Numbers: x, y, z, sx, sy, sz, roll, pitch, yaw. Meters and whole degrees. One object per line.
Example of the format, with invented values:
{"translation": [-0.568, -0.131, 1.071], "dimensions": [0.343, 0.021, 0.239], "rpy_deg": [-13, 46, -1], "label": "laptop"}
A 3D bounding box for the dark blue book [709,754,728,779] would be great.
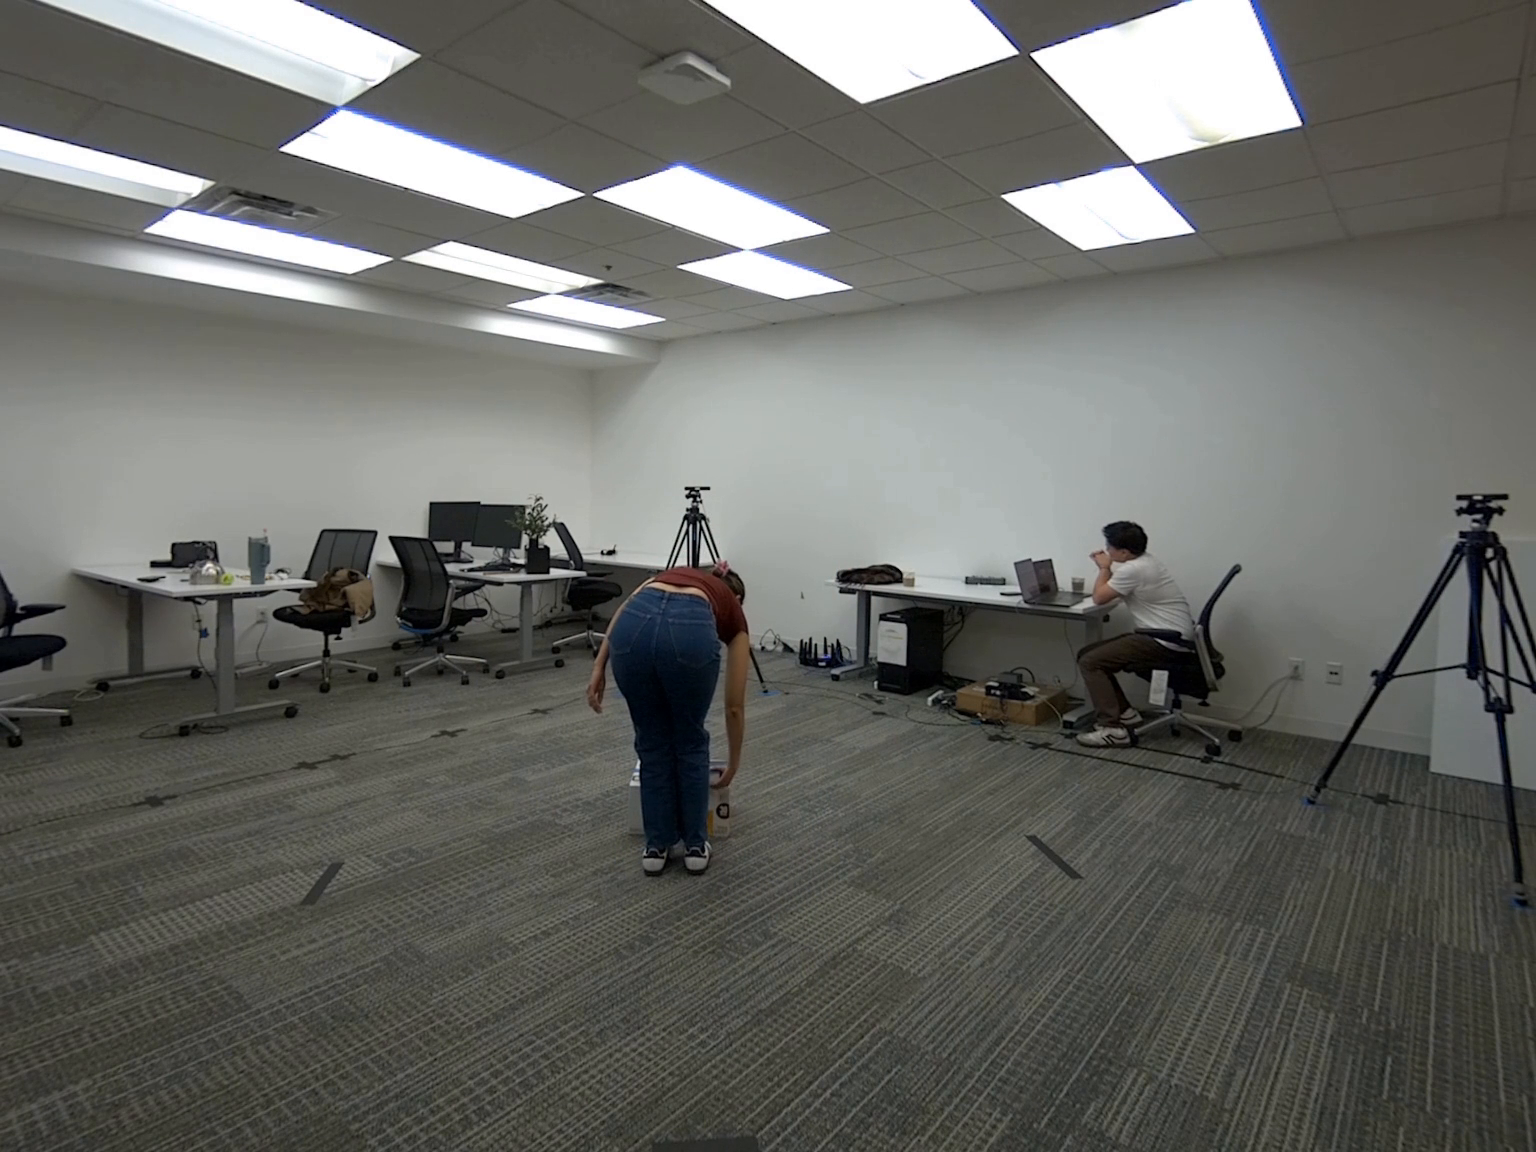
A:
{"translation": [-0.255, 0.783, 3.470], "dimensions": [0.165, 0.045, 0.242], "rpy_deg": [-3, -1, 9], "label": "dark blue book"}
